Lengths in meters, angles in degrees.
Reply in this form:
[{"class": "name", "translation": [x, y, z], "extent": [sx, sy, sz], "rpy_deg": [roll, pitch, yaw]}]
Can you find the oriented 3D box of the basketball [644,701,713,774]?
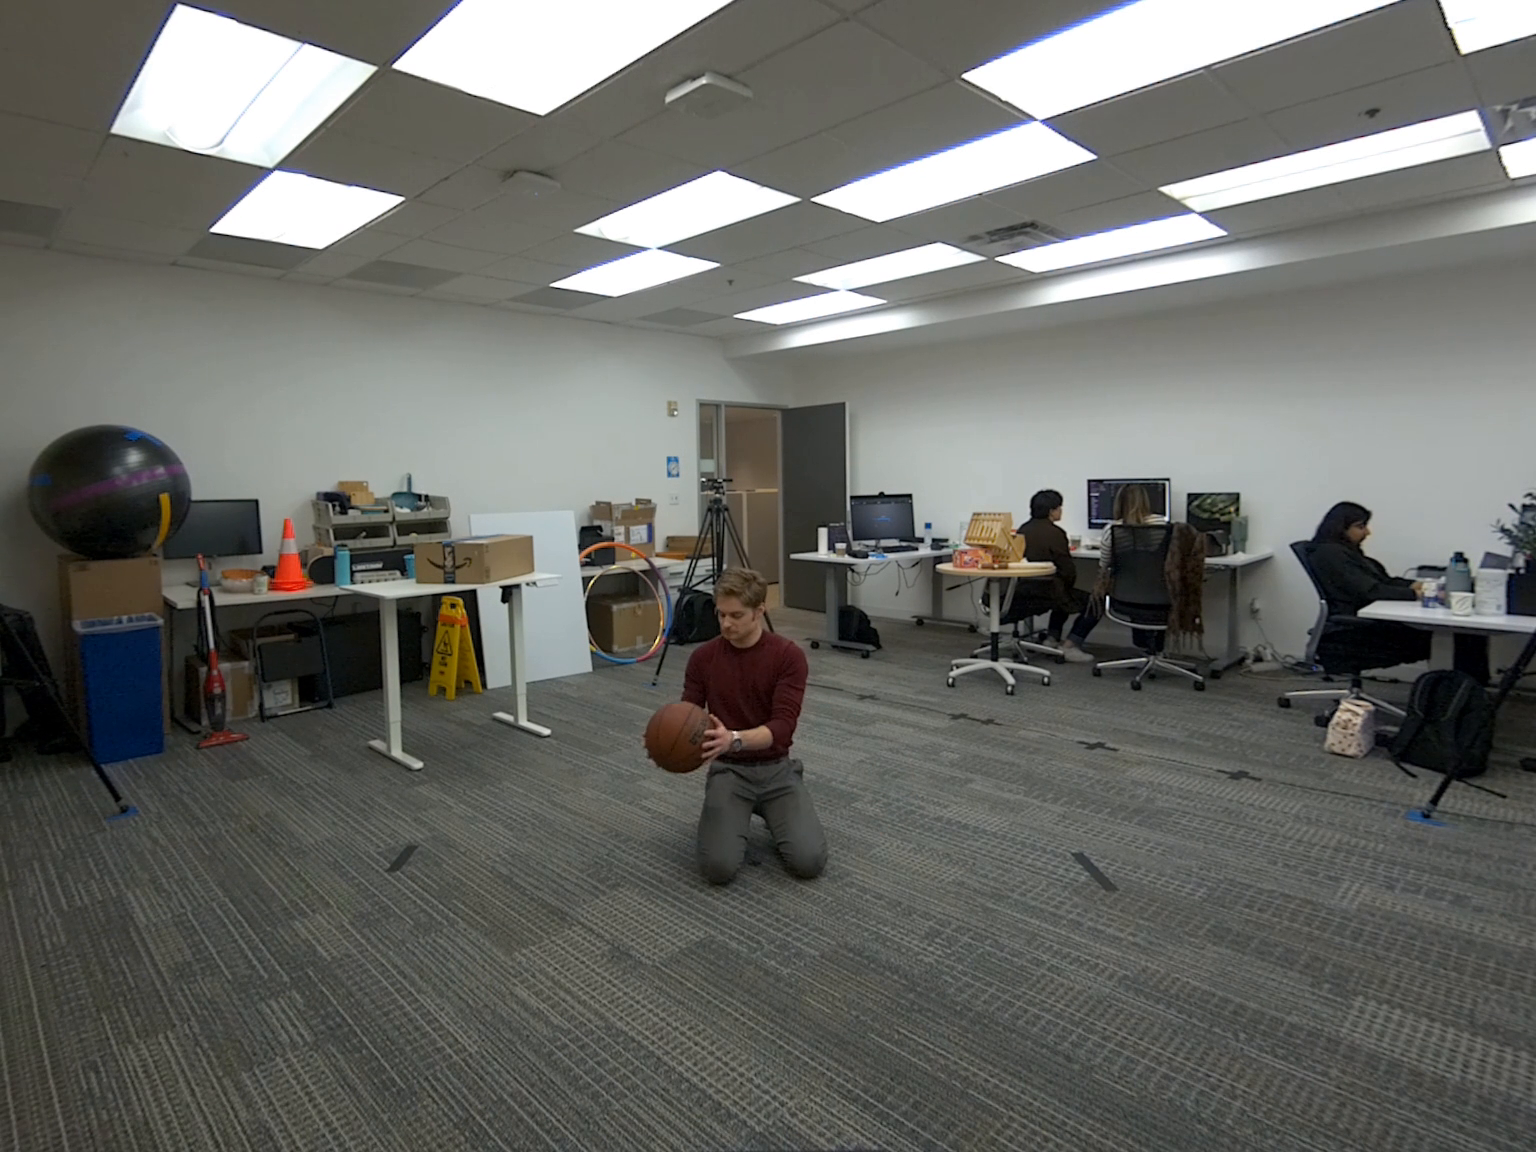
[{"class": "basketball", "translation": [-0.295, 0.564, 2.912], "extent": [0.236, 0.235, 0.237], "rpy_deg": [-1, 5, -2]}]
